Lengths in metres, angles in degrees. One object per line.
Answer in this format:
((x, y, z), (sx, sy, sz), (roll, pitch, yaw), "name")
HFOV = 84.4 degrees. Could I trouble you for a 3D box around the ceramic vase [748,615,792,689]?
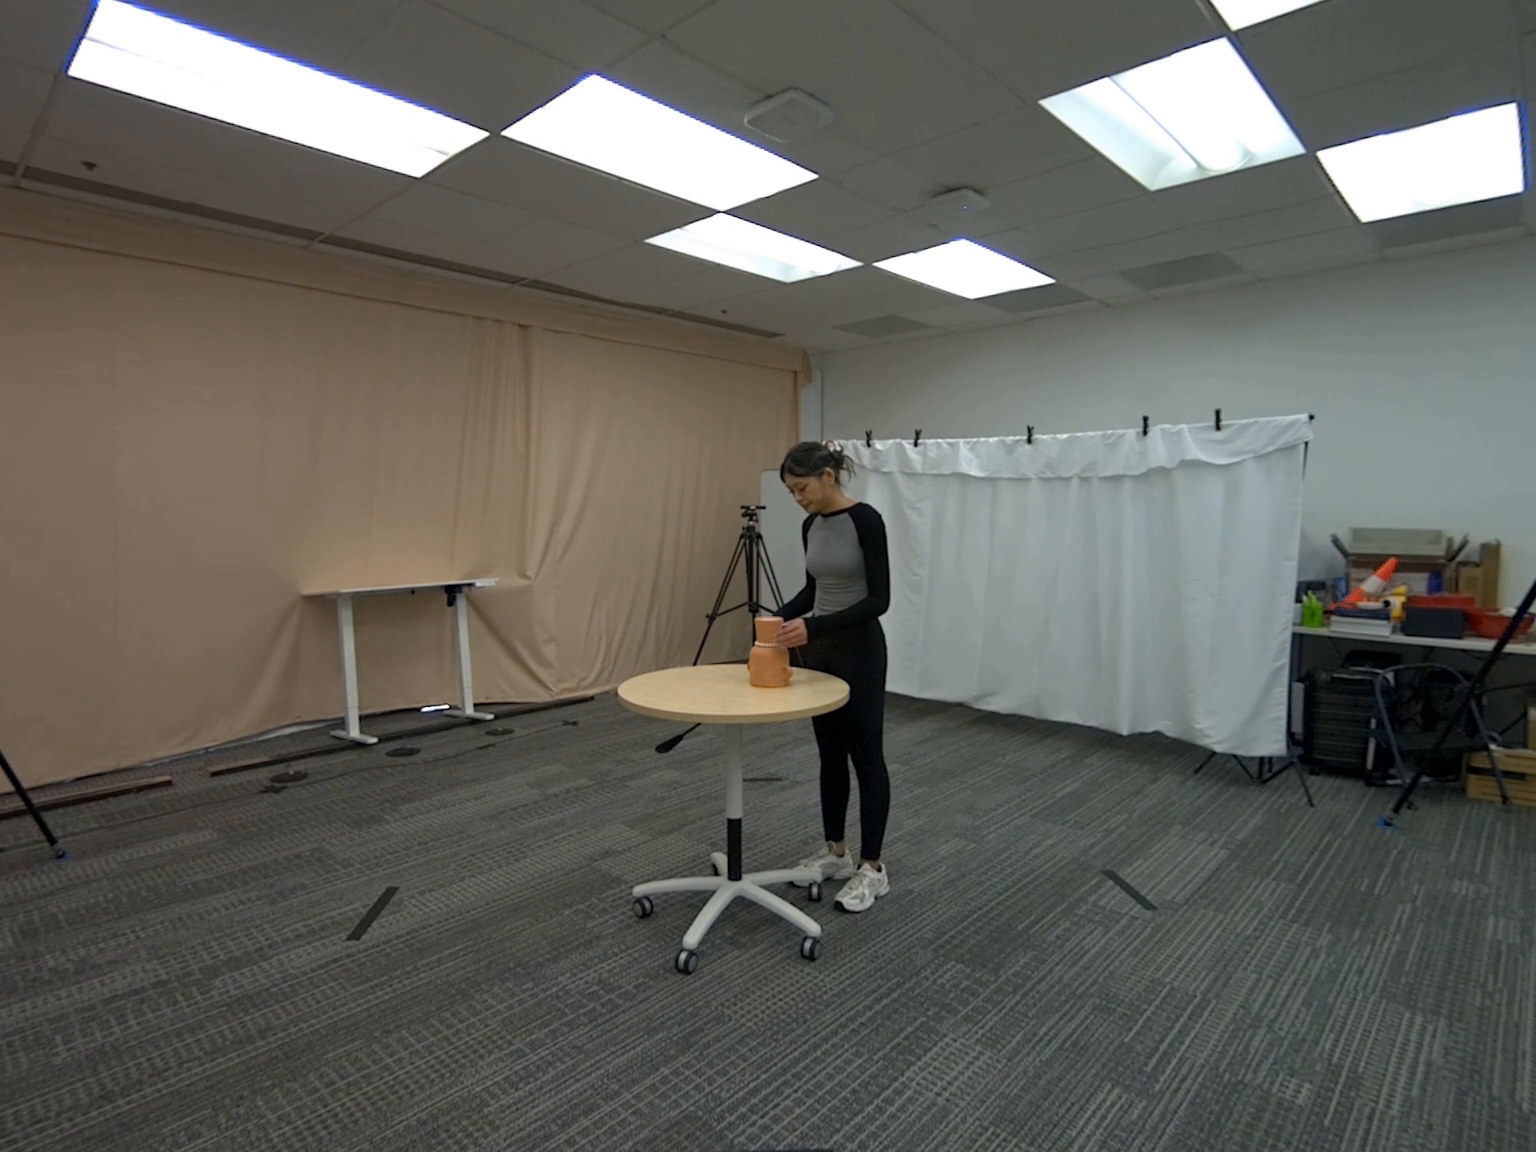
((0.012, 0.249, 2.829), (0.159, 0.219, 0.134), (2, 1, 3), "ceramic vase")
